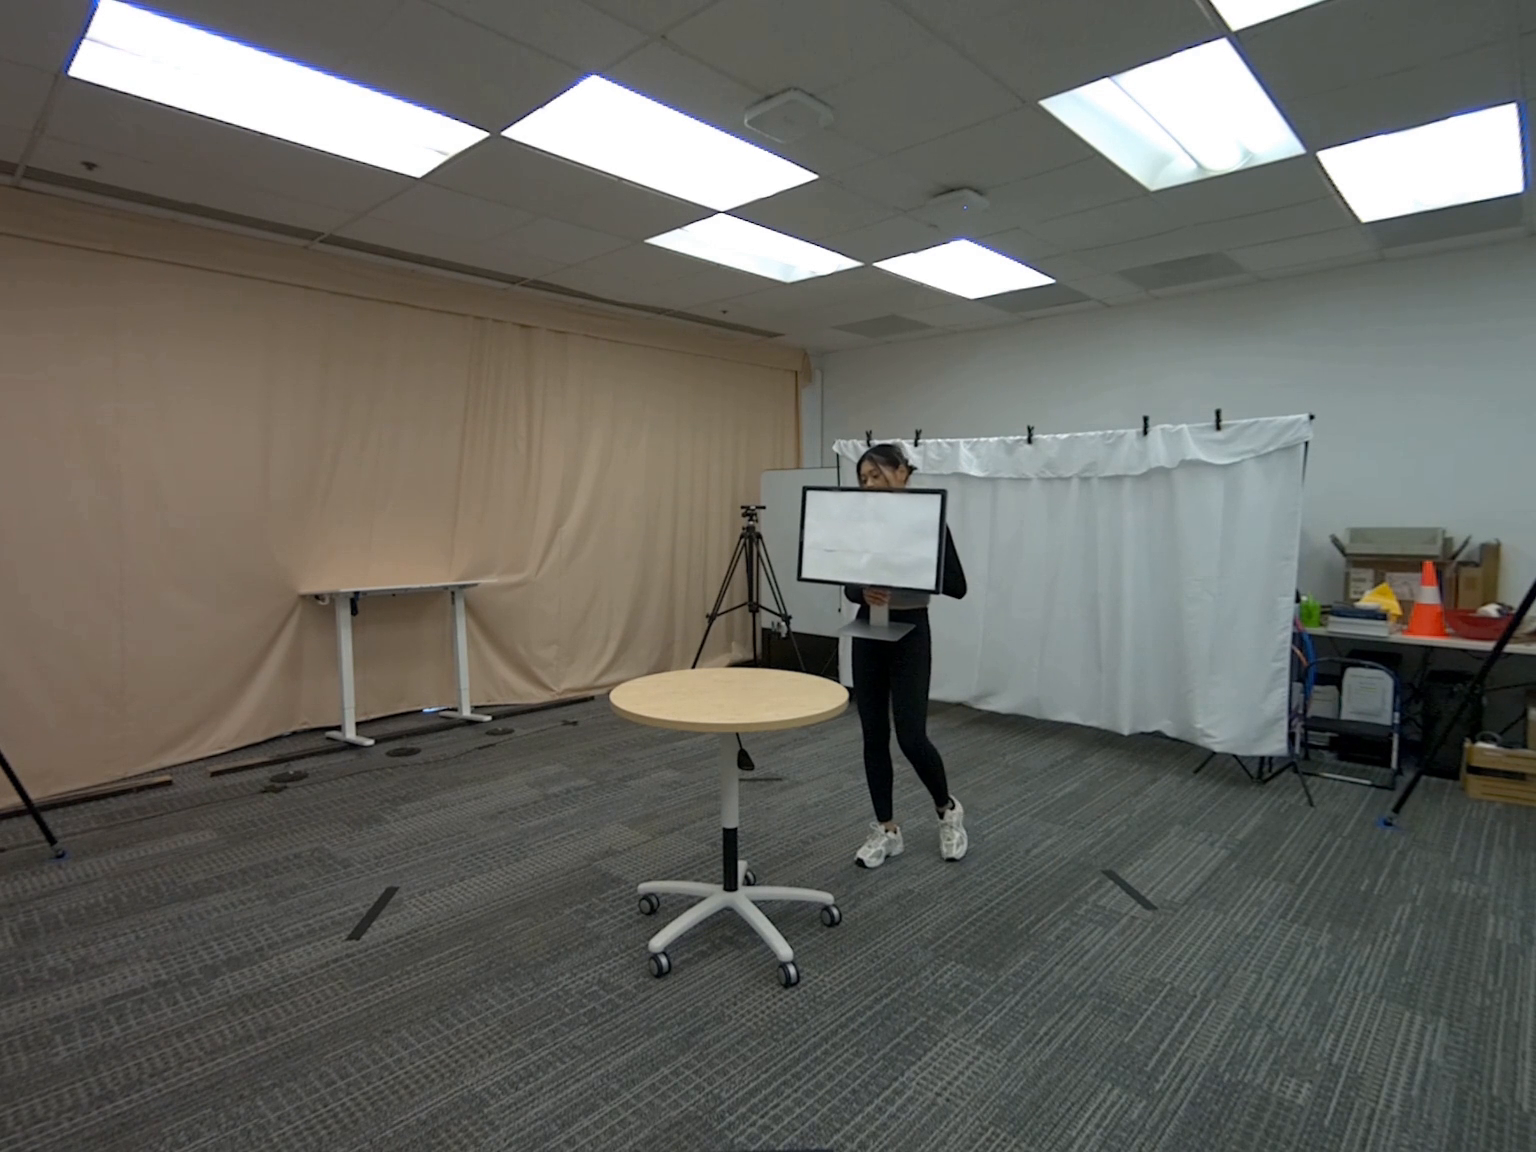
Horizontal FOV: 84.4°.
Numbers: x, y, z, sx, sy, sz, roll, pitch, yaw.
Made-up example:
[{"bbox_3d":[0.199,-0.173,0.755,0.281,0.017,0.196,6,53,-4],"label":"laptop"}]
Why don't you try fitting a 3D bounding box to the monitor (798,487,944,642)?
[{"bbox_3d":[0.386,-0.054,3.086,0.555,0.519,0.183,5,13,32],"label":"monitor"}]
